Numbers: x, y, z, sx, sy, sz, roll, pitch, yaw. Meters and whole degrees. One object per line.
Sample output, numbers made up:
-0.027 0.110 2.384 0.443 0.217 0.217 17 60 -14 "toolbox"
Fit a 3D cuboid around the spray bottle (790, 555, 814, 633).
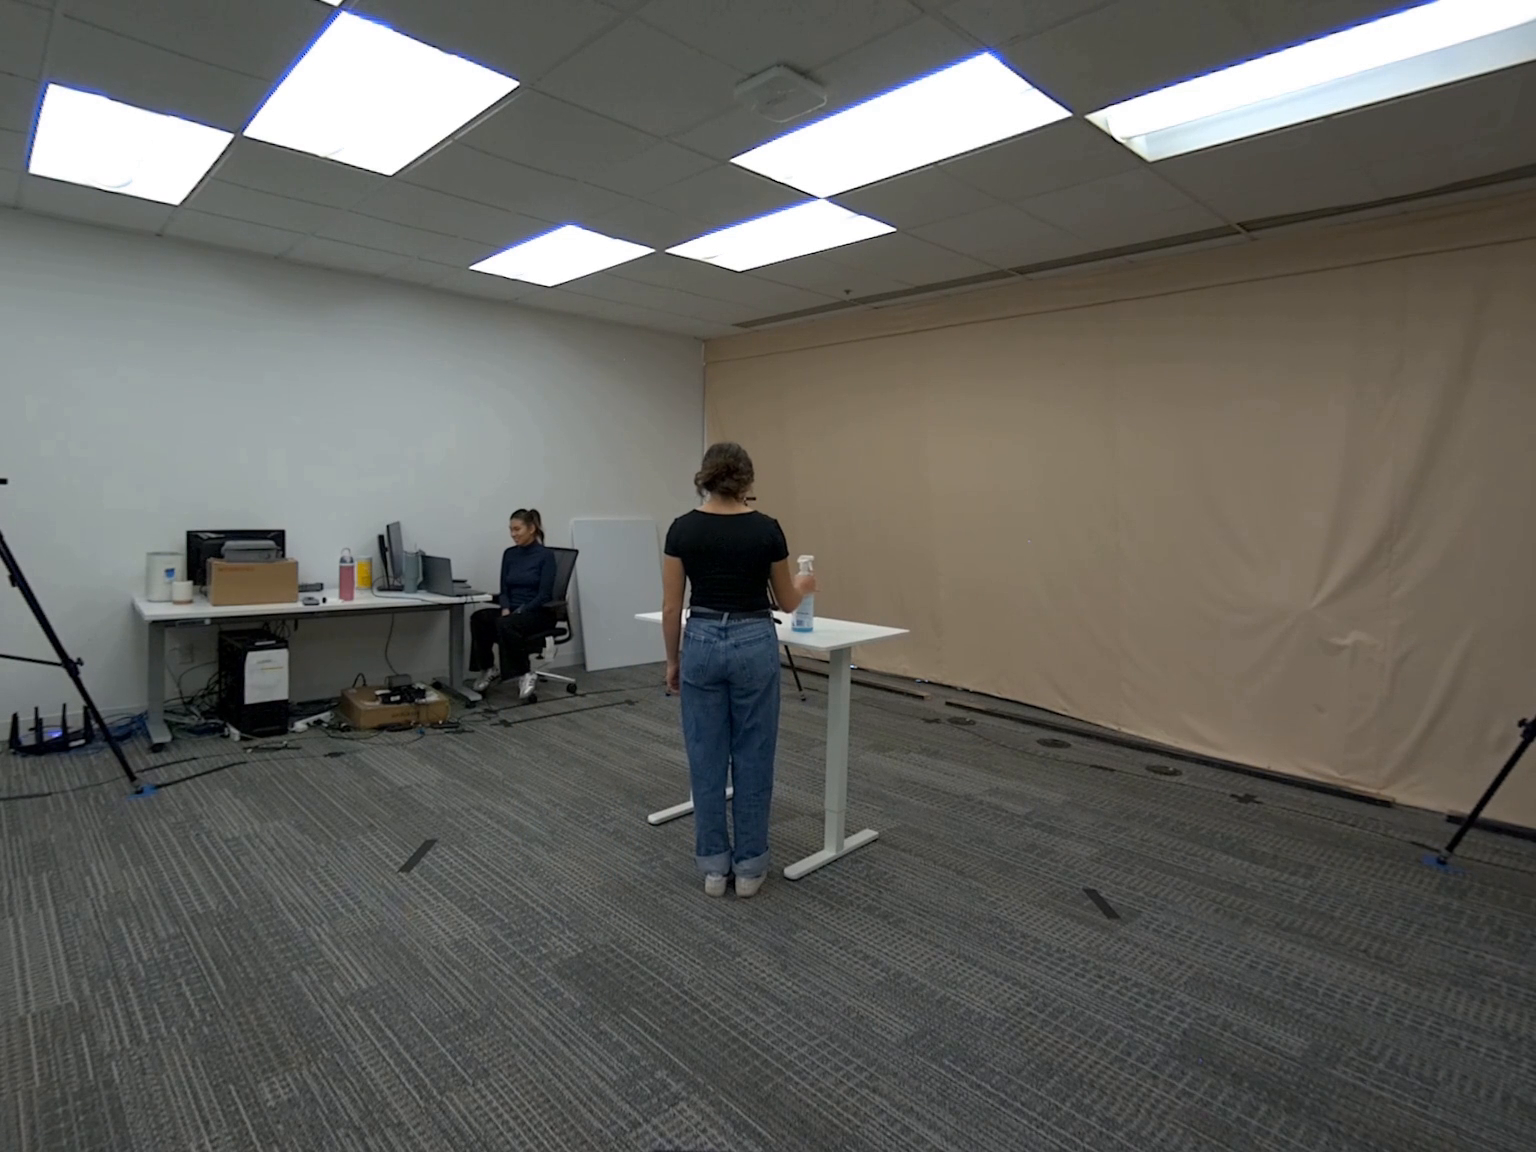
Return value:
0.131 0.063 3.290 0.086 0.296 0.091 1 6 -10 "spray bottle"
